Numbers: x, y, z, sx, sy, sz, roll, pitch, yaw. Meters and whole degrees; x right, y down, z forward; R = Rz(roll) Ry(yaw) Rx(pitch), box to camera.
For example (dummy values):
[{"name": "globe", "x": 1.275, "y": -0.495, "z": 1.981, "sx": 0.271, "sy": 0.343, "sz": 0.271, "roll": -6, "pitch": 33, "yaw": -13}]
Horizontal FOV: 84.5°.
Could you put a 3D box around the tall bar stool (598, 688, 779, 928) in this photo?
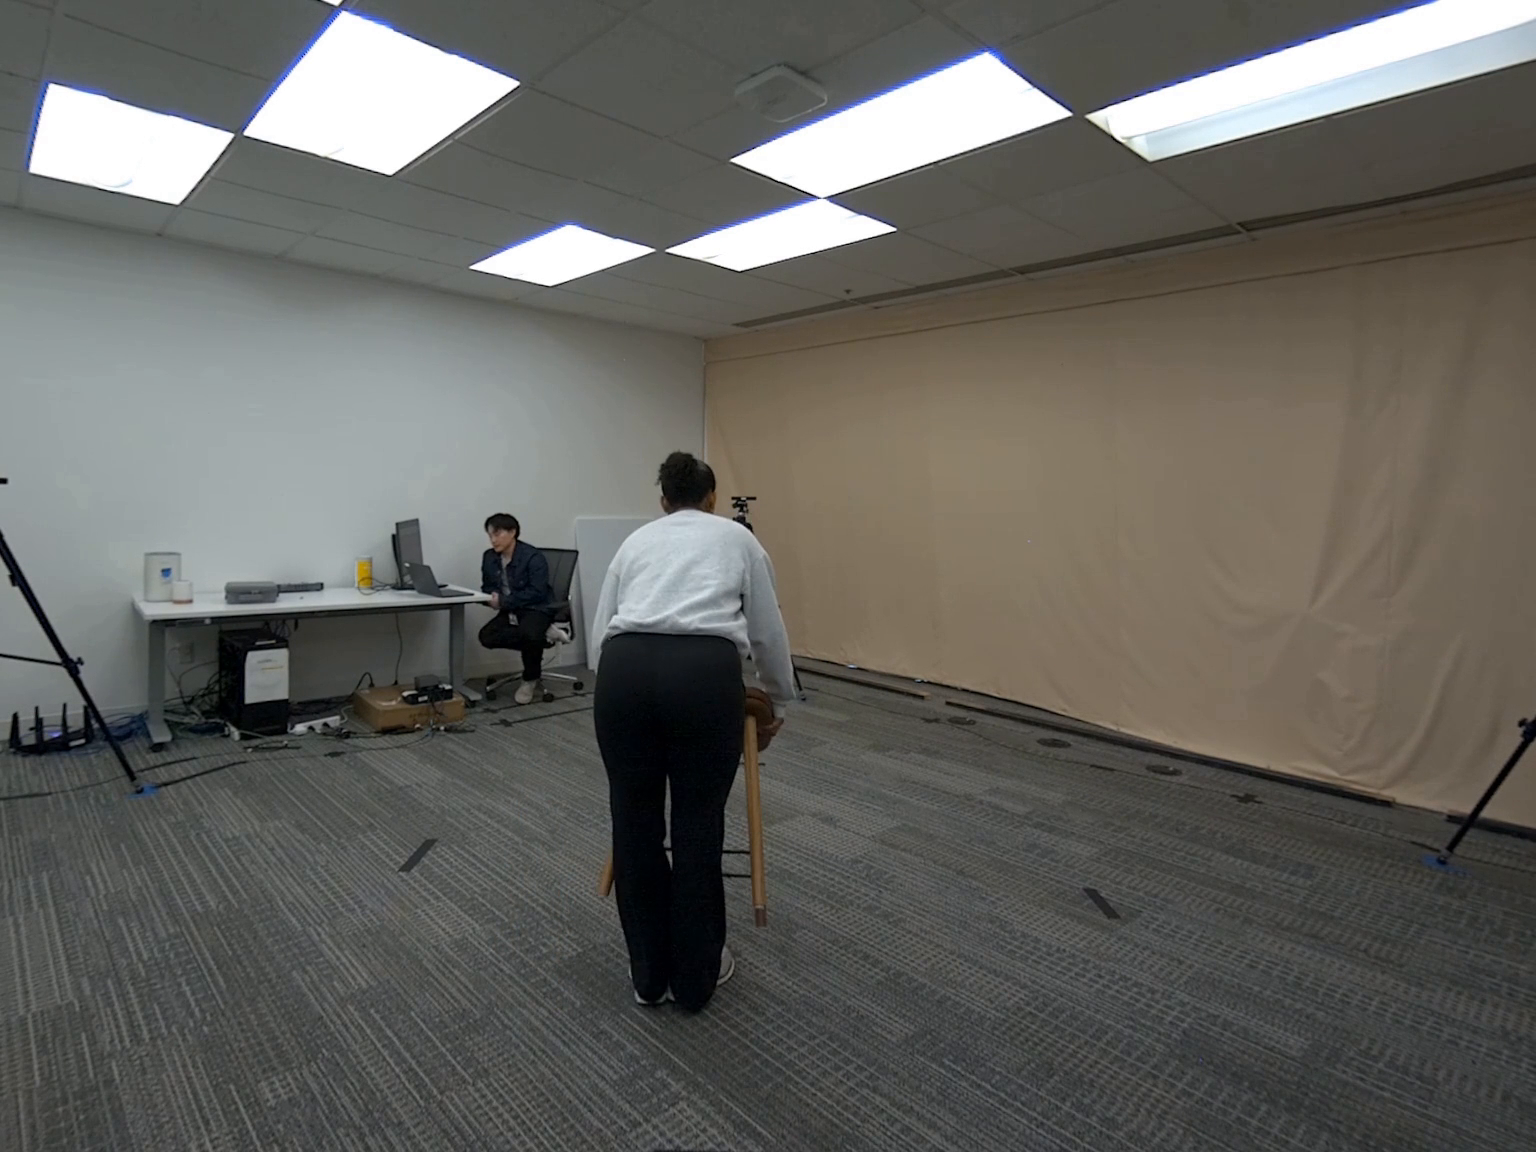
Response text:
[{"name": "tall bar stool", "x": -0.227, "y": 0.582, "z": 2.607, "sx": 0.468, "sy": 0.907, "sz": 0.447, "roll": -1, "pitch": -31, "yaw": 2}]
